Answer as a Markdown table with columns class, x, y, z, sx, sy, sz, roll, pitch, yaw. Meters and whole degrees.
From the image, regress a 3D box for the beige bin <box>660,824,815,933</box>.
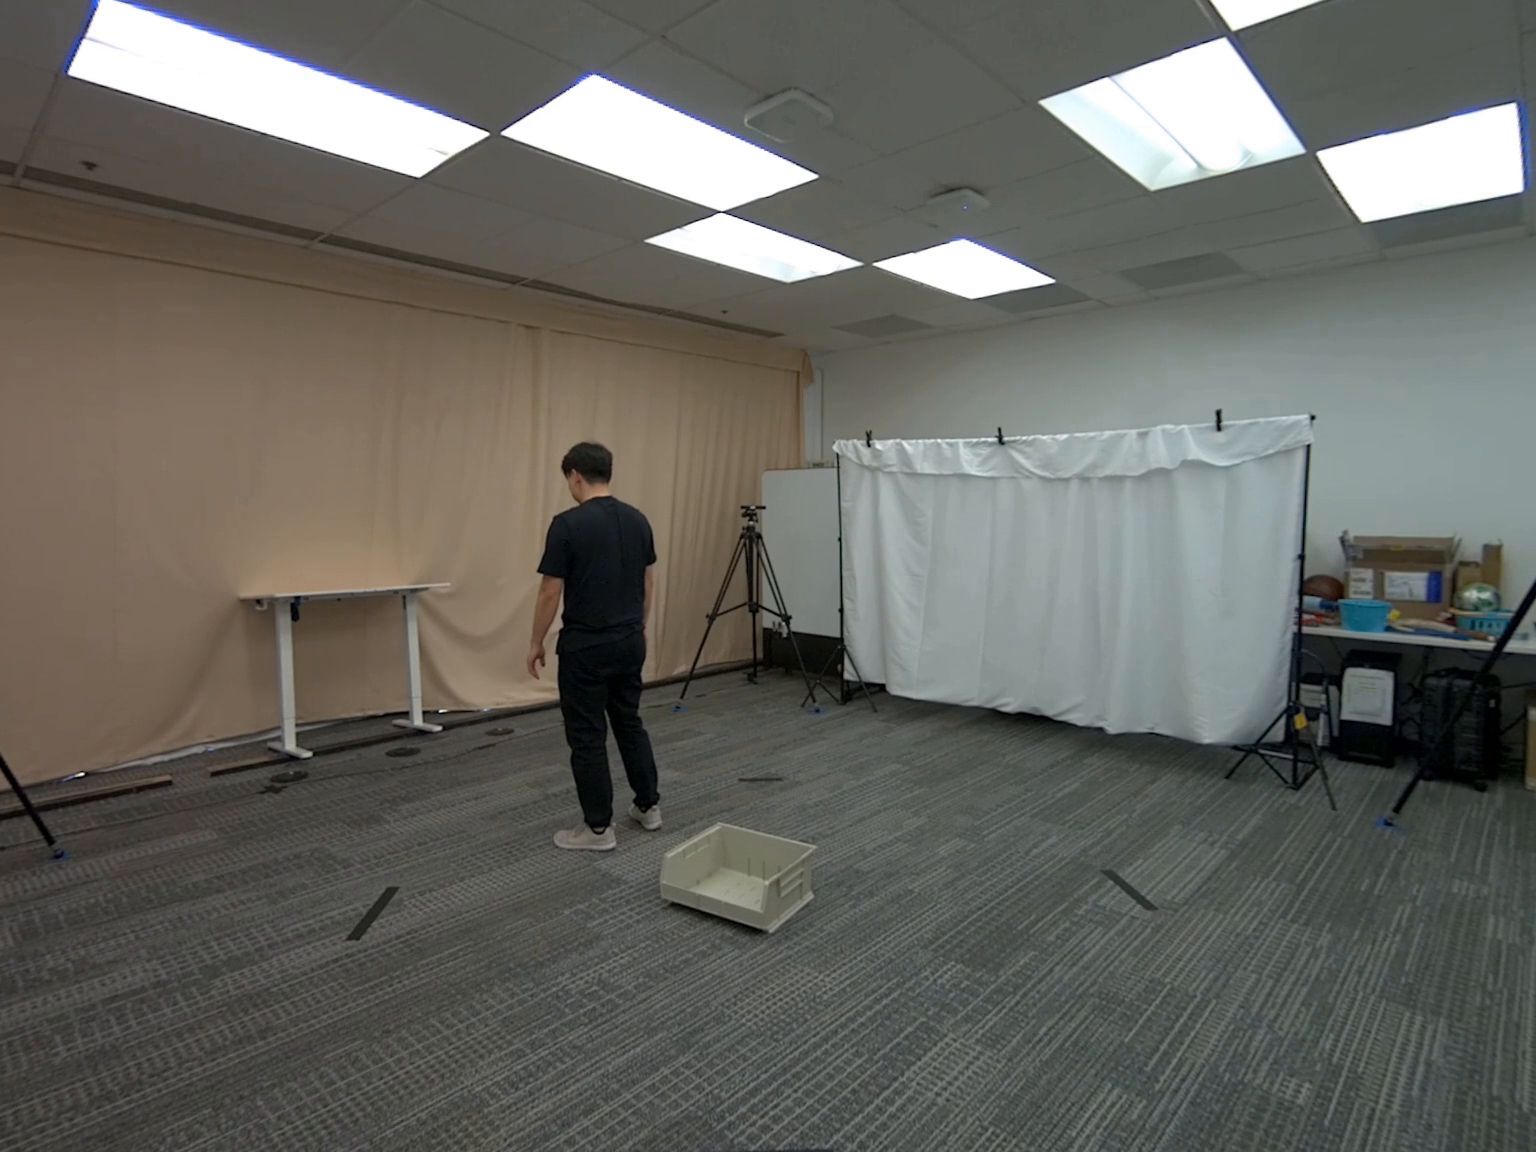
| class | x | y | z | sx | sy | sz | roll | pitch | yaw |
| --- | --- | --- | --- | --- | --- | --- | --- | --- | --- |
| beige bin | -0.097 | 1.059 | 2.959 | 0.435 | 0.188 | 0.367 | 2 | 4 | 32 |
